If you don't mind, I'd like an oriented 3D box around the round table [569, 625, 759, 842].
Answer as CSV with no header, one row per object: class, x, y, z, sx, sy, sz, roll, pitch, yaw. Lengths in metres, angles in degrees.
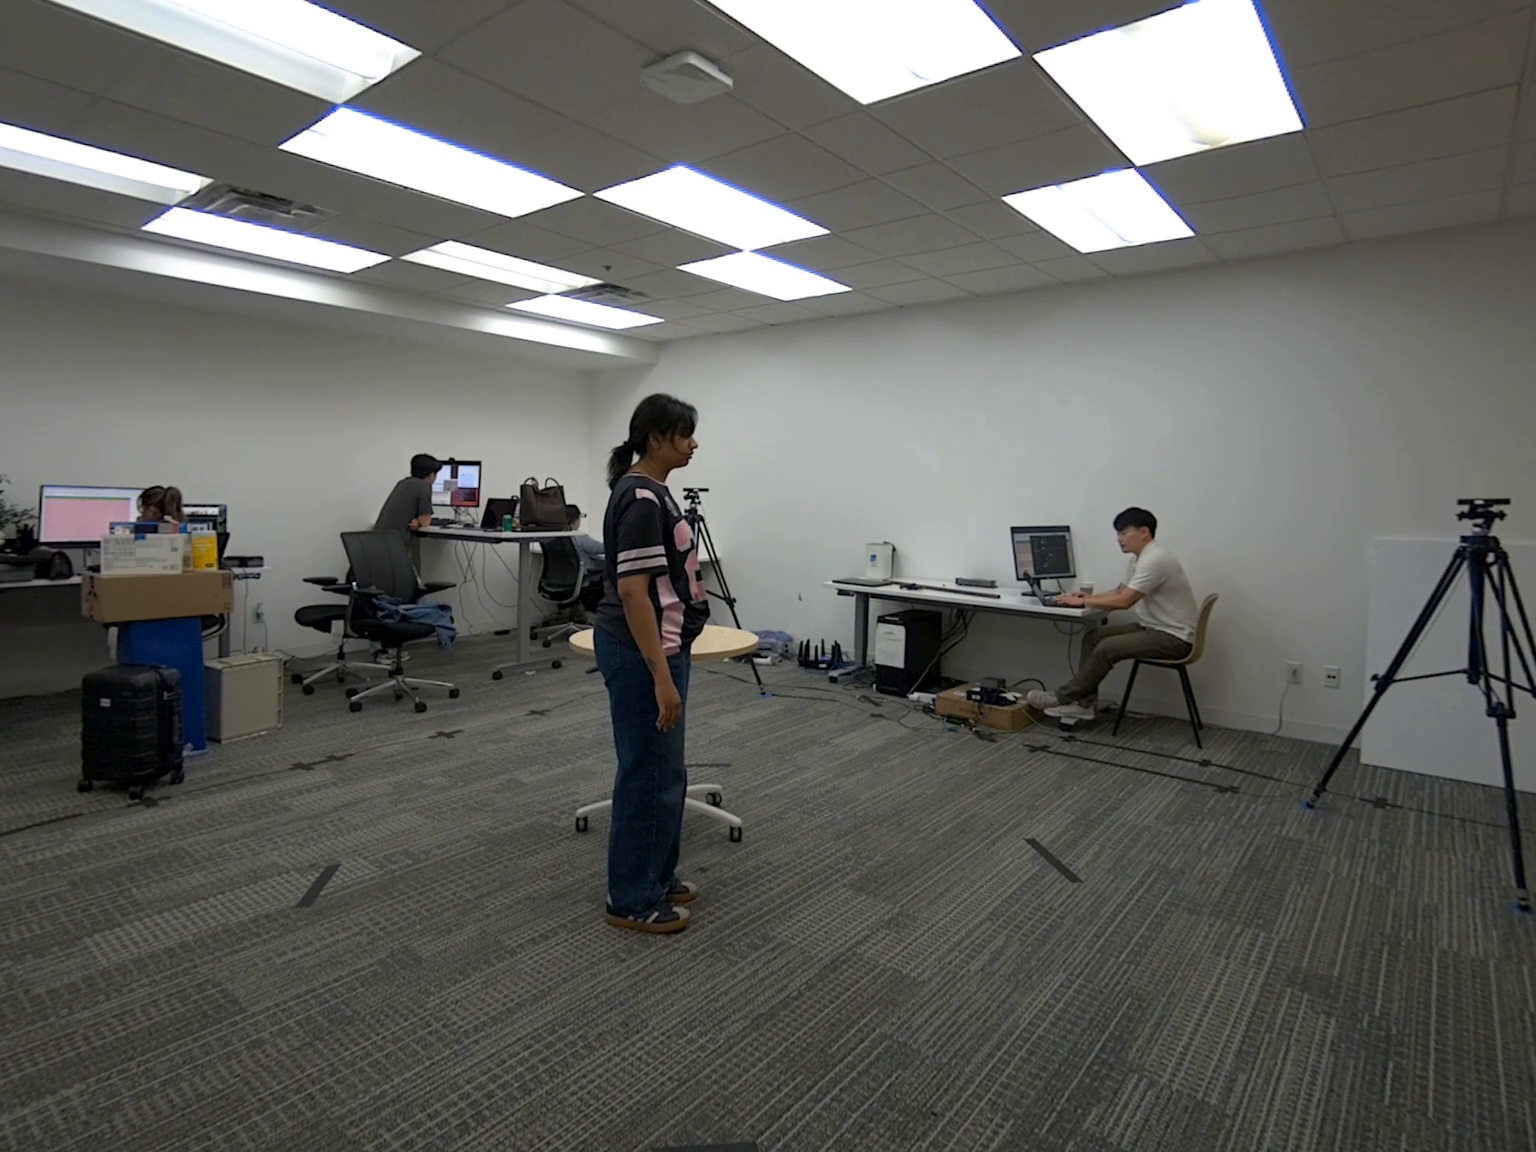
round table,-0.452,0.634,3.476,0.784,0.784,0.789,1,4,-2
